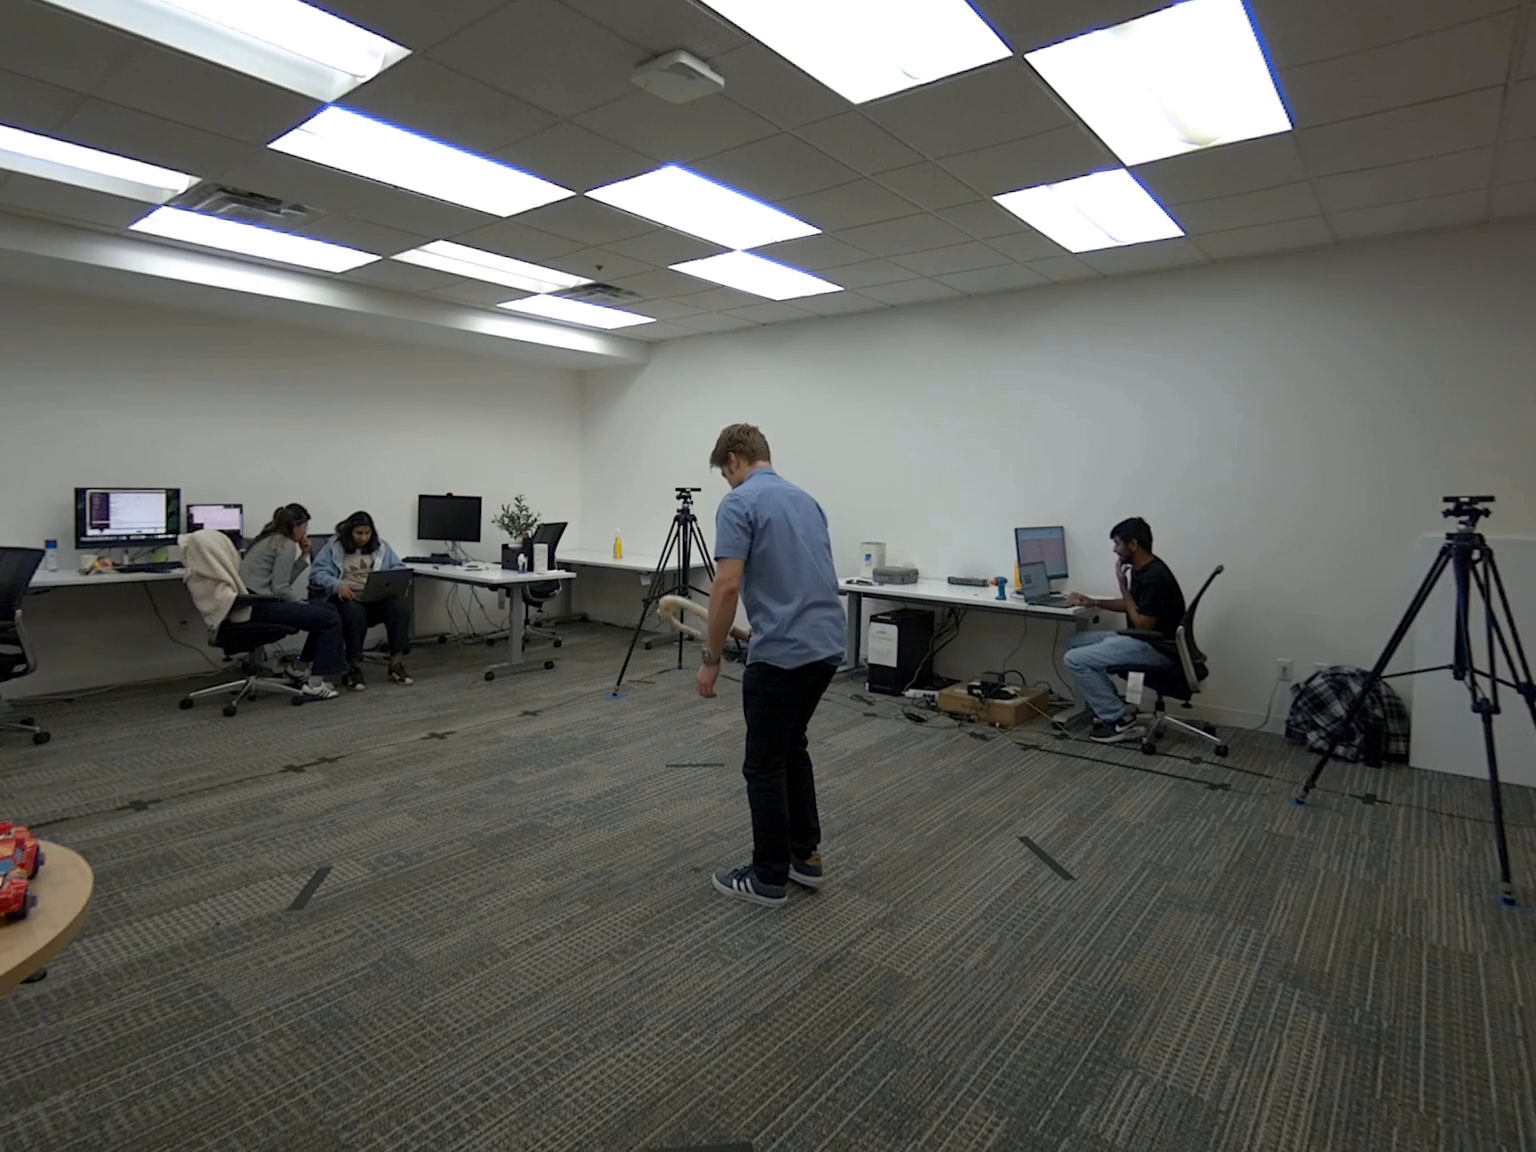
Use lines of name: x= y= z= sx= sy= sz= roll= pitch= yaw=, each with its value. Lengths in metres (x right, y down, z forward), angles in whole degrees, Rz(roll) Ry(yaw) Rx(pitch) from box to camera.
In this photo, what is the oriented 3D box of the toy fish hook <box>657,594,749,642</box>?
toy fish hook: x=-0.204 y=0.216 z=3.350 sx=0.511 sy=0.049 sz=0.220 roll=24 pitch=-31 yaw=6
